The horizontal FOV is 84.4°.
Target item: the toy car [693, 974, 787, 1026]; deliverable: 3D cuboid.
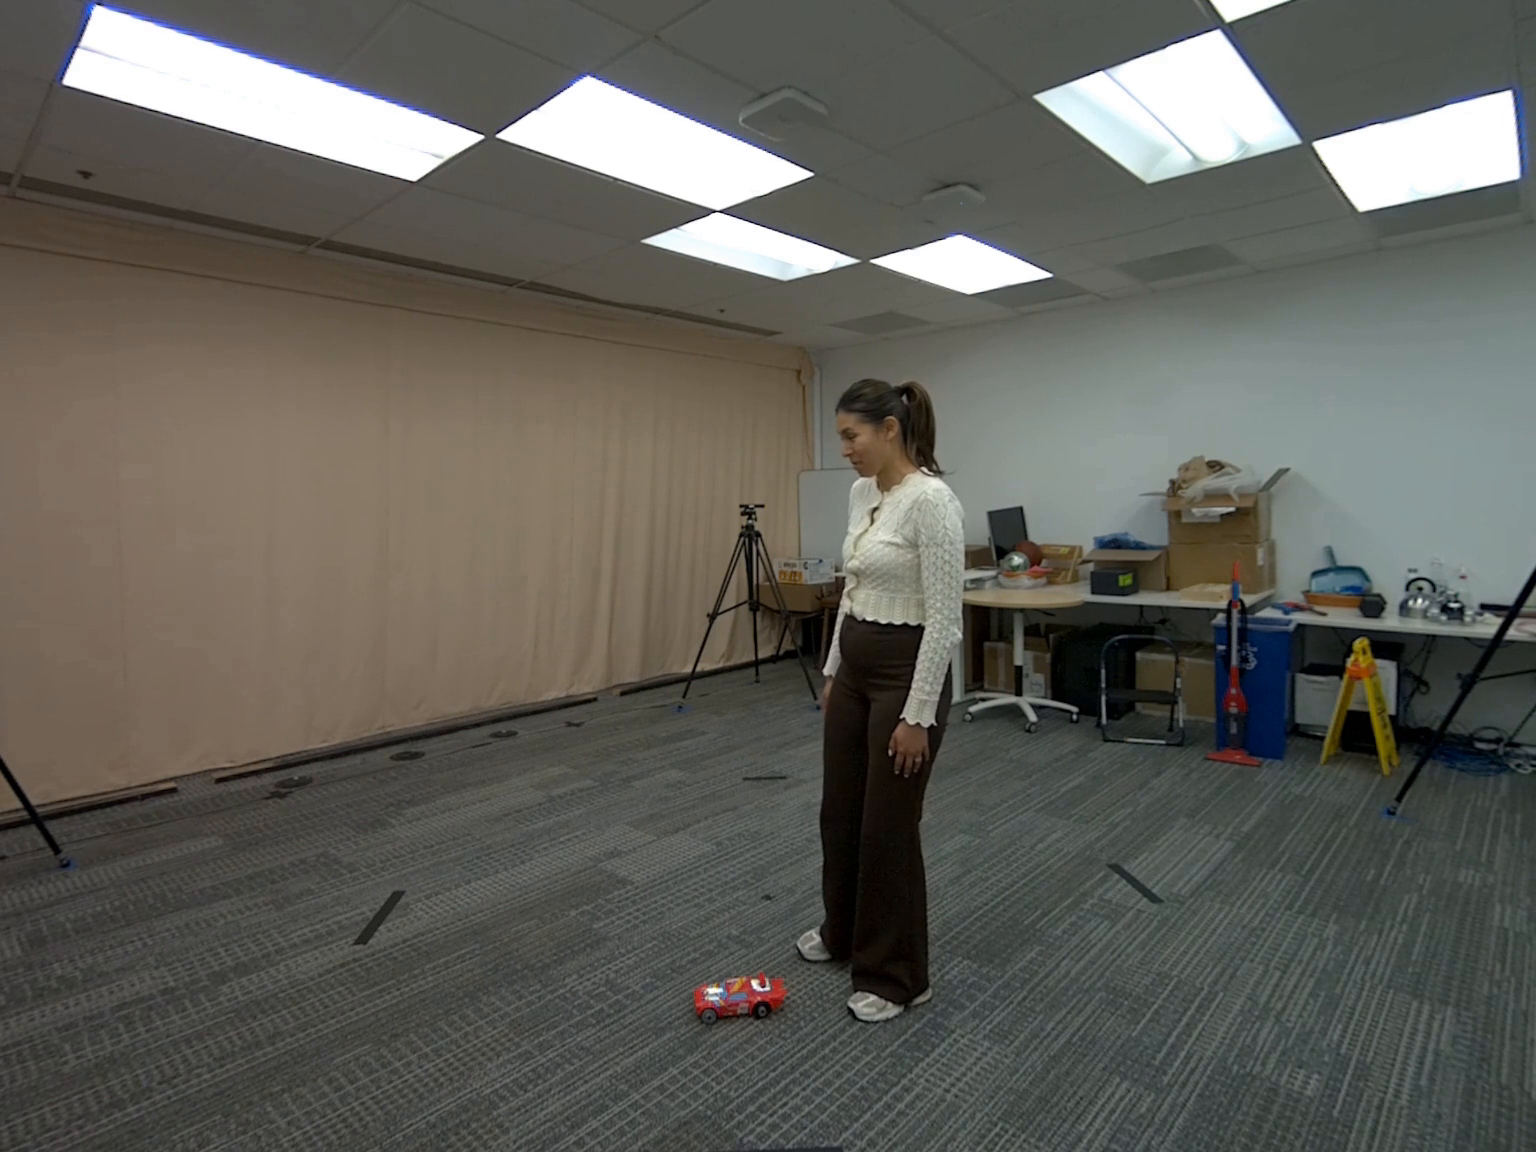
[{"bbox_3d":[-0.070,1.167,2.321,0.253,0.083,0.131,-12,5,-6],"label":"toy car"}]
